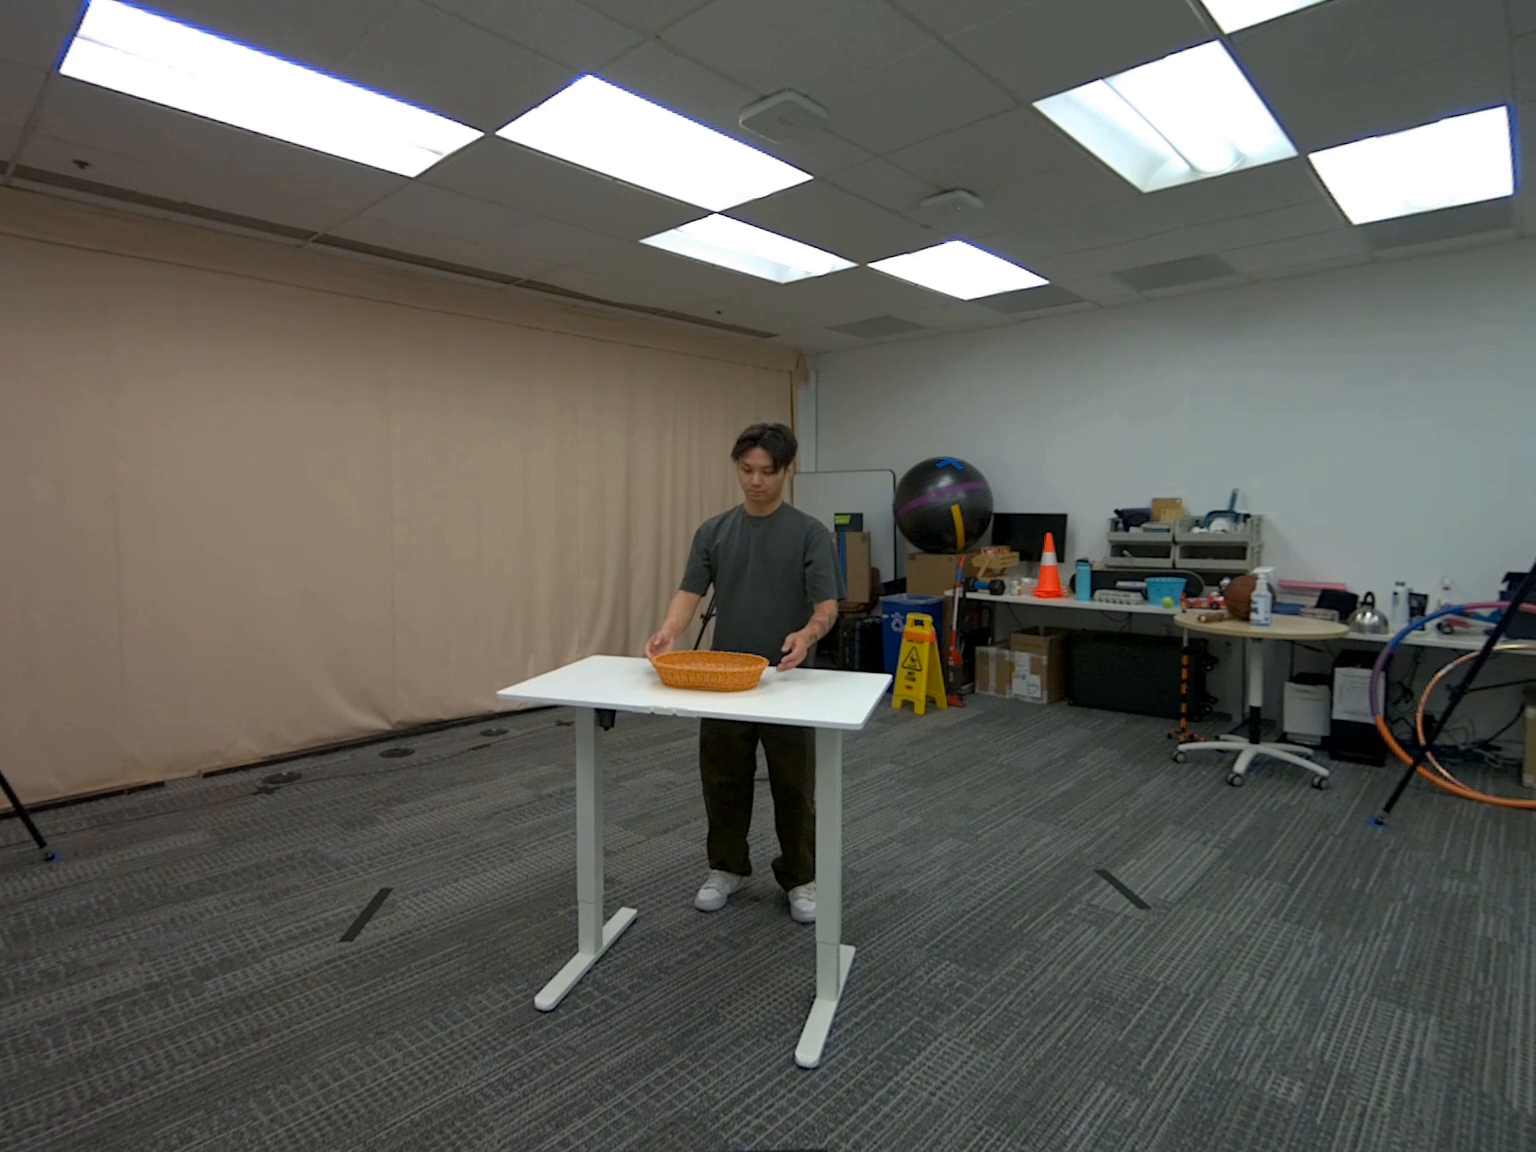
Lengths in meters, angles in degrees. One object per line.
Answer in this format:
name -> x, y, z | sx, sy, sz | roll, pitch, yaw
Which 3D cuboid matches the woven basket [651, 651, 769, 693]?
woven basket -> -0.170, 0.279, 2.419 | 0.358, 0.073, 0.248 | 2, 6, 20
